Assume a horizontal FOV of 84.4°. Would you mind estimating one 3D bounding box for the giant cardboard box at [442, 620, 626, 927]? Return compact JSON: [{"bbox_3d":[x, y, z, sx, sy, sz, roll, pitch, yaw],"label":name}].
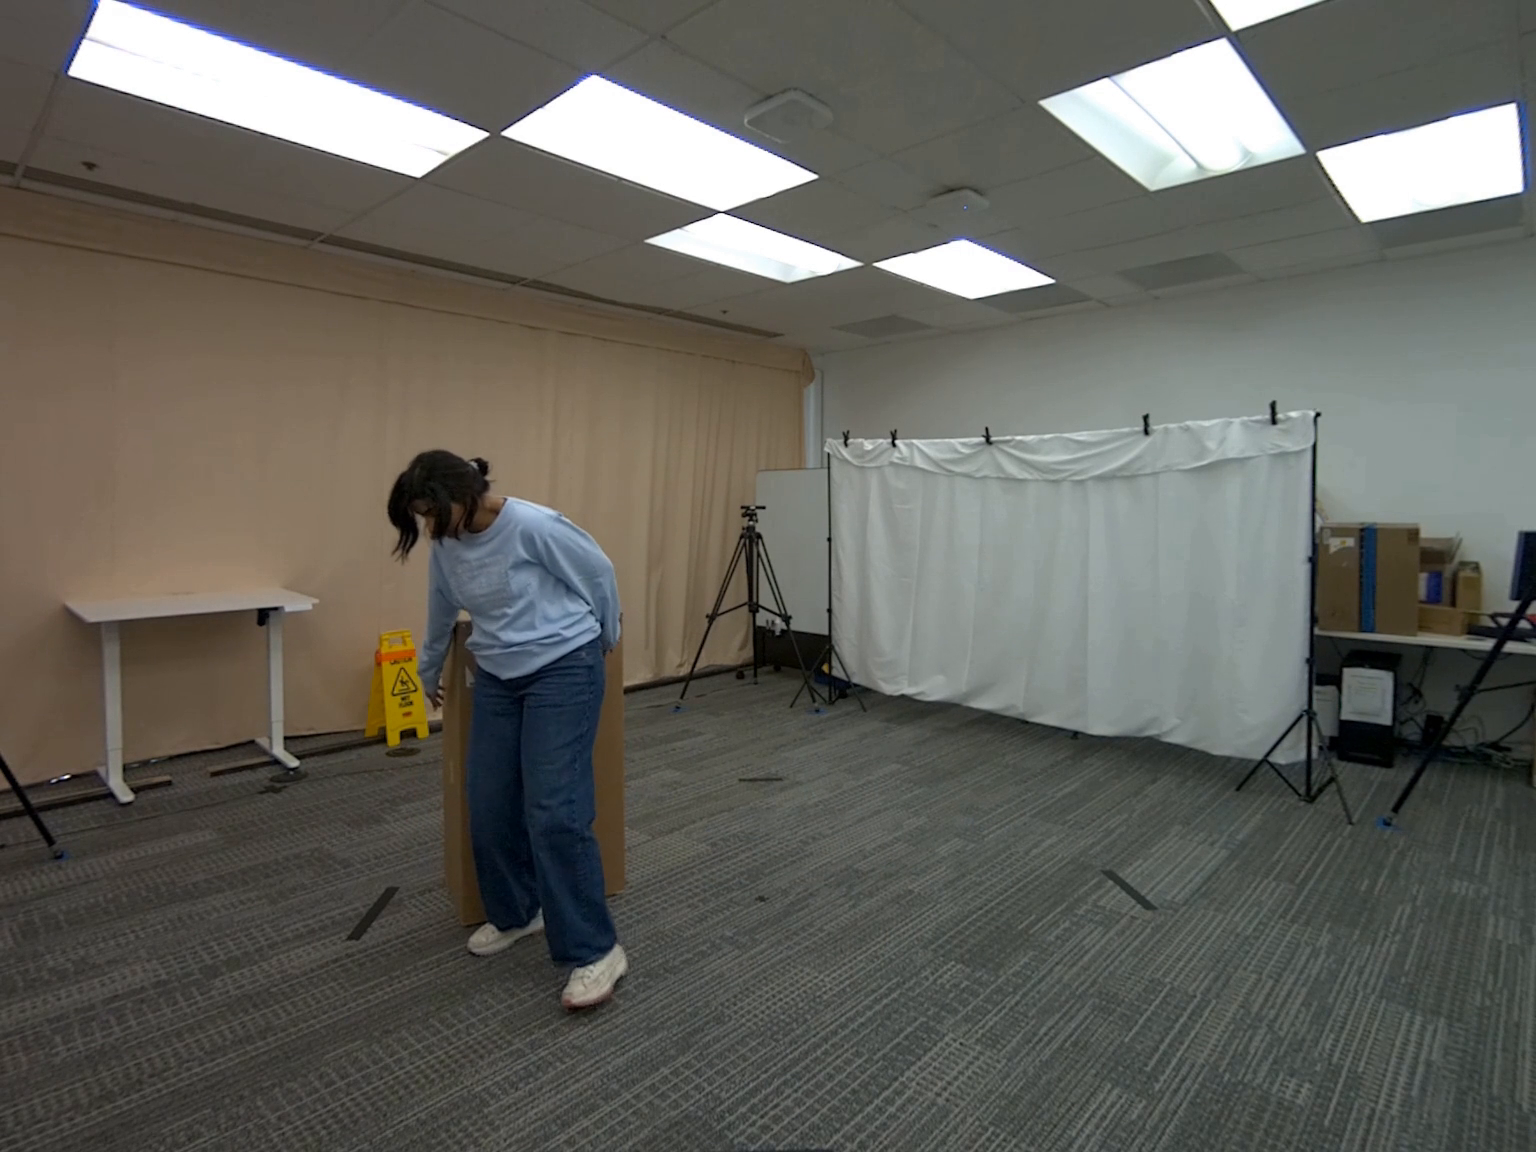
[{"bbox_3d":[-0.865,0.633,3.077,0.563,1.024,0.438,-2,3,-27],"label":"giant cardboard box"}]
